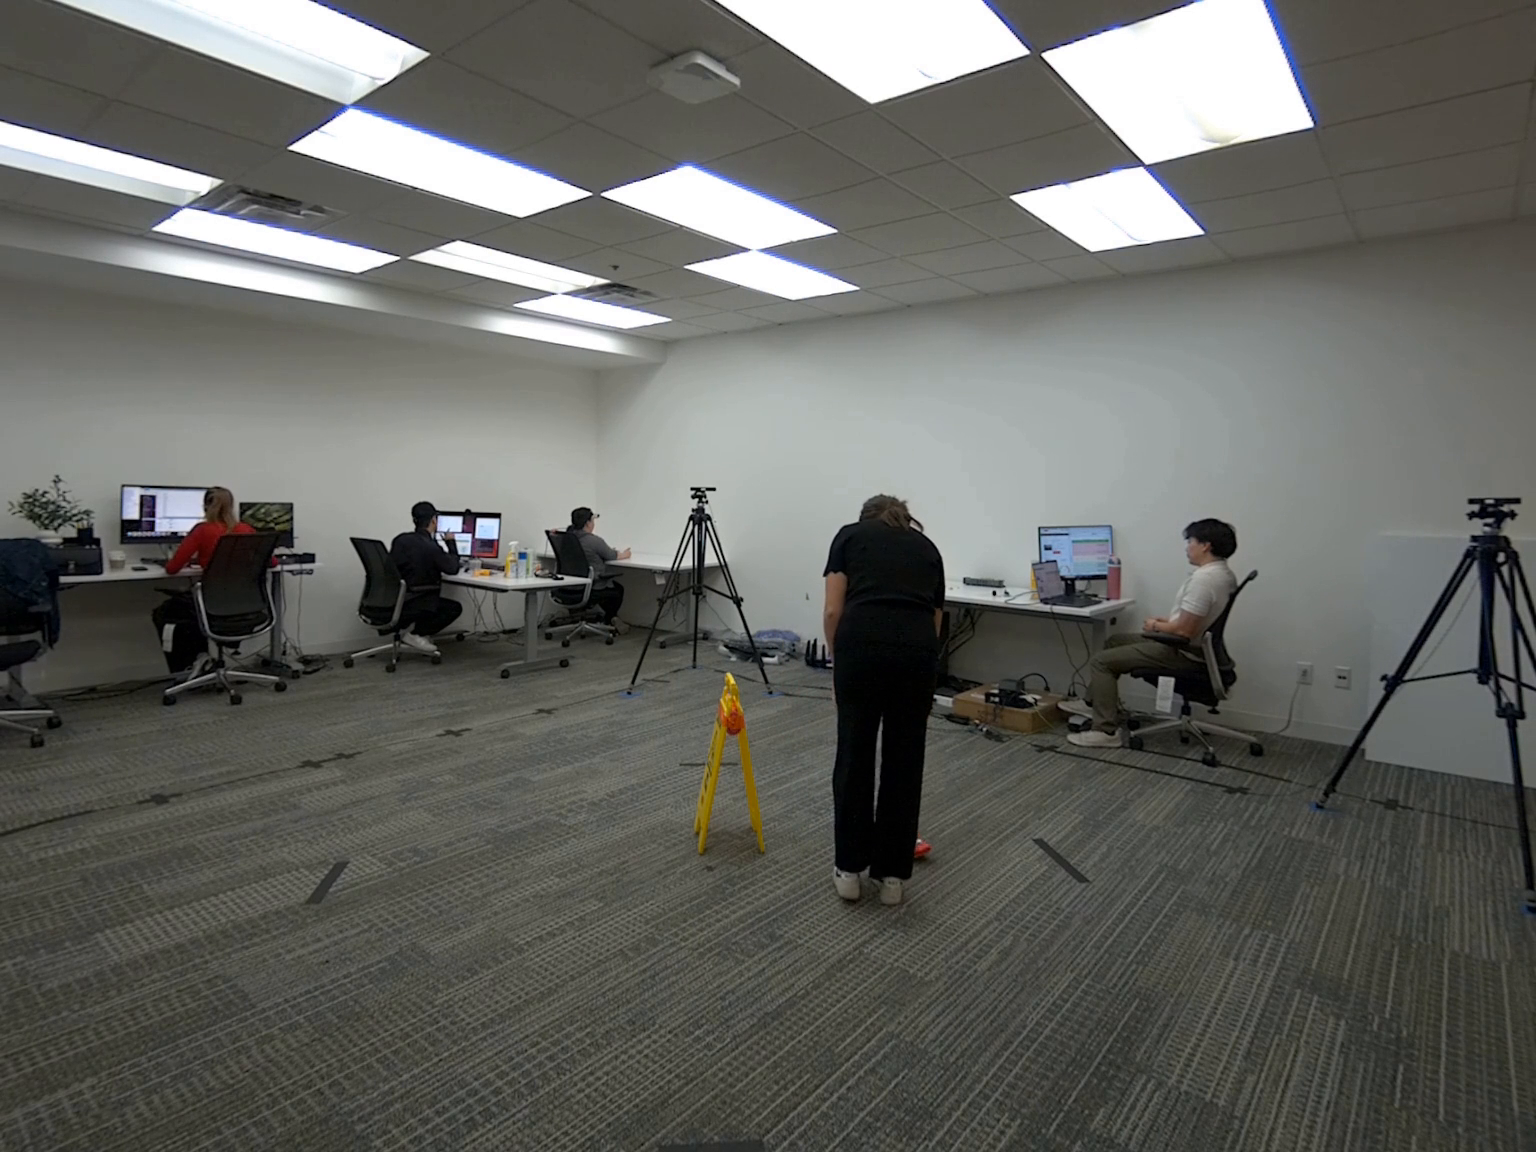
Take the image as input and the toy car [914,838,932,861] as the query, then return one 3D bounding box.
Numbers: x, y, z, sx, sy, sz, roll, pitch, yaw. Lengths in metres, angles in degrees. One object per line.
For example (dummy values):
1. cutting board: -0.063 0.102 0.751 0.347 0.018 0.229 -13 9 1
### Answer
1. toy car: 0.511 1.025 3.294 0.127 0.084 0.260 -3 -4 -33
